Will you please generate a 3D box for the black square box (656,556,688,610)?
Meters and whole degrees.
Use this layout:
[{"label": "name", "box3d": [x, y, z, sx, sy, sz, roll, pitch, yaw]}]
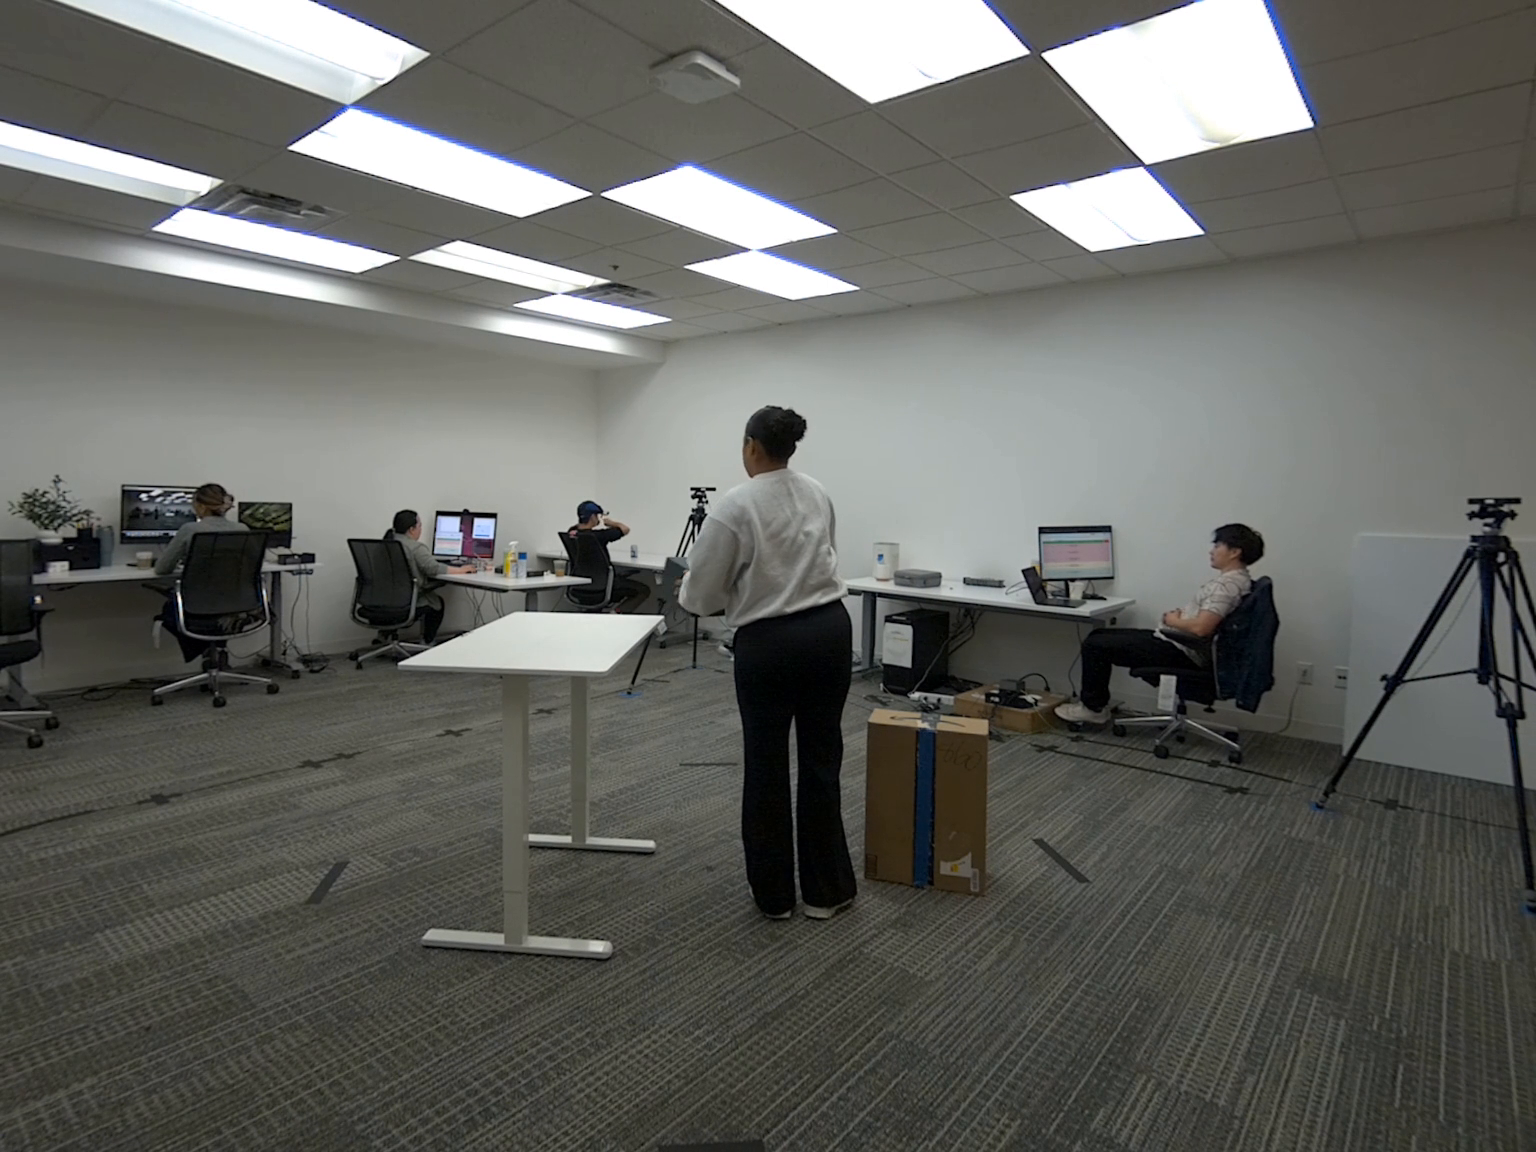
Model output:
[{"label": "black square box", "box3d": [-0.240, 0.031, 3.136, 0.221, 0.154, 0.226, 0, 19, -40]}]
